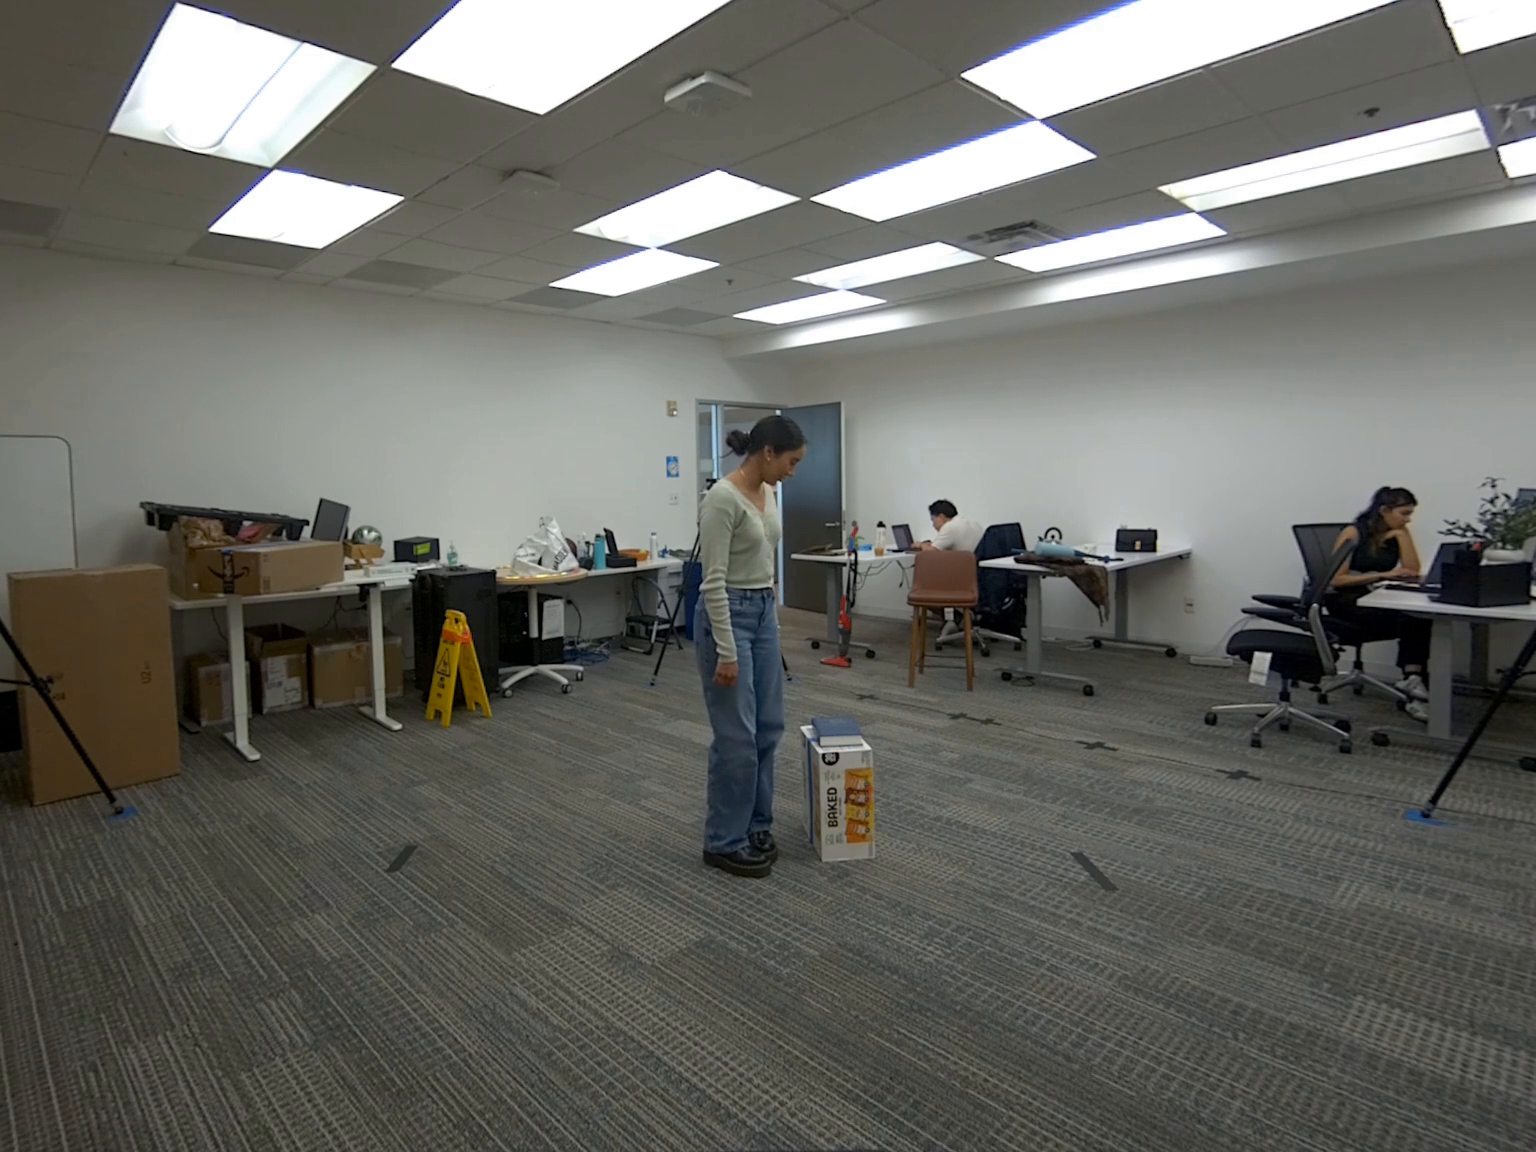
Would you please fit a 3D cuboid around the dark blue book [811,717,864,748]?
[{"bbox_3d":[0.262,0.596,3.280,0.163,0.045,0.247,-1,6,-3],"label":"dark blue book"}]
